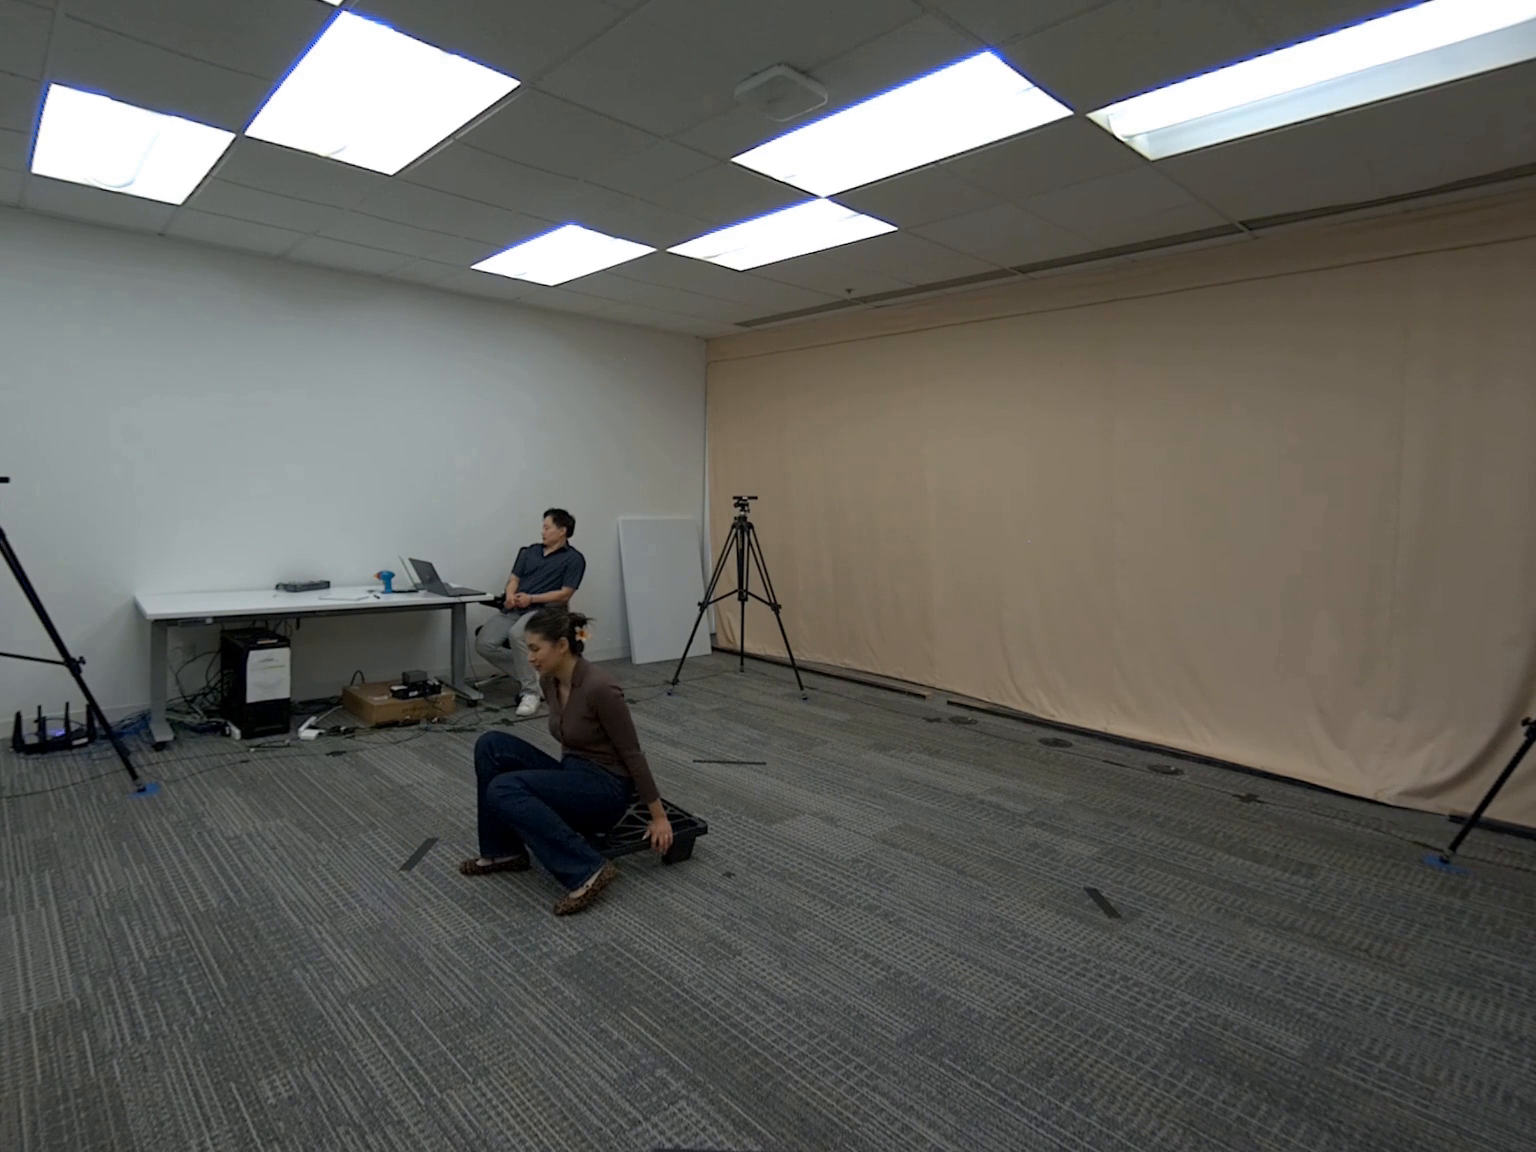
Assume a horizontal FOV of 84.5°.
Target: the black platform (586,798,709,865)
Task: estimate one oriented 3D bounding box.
[{"bbox_3d":[-0.707,1.002,3.389,0.592,0.143,0.826,-2,7,-37],"label":"black platform"}]
